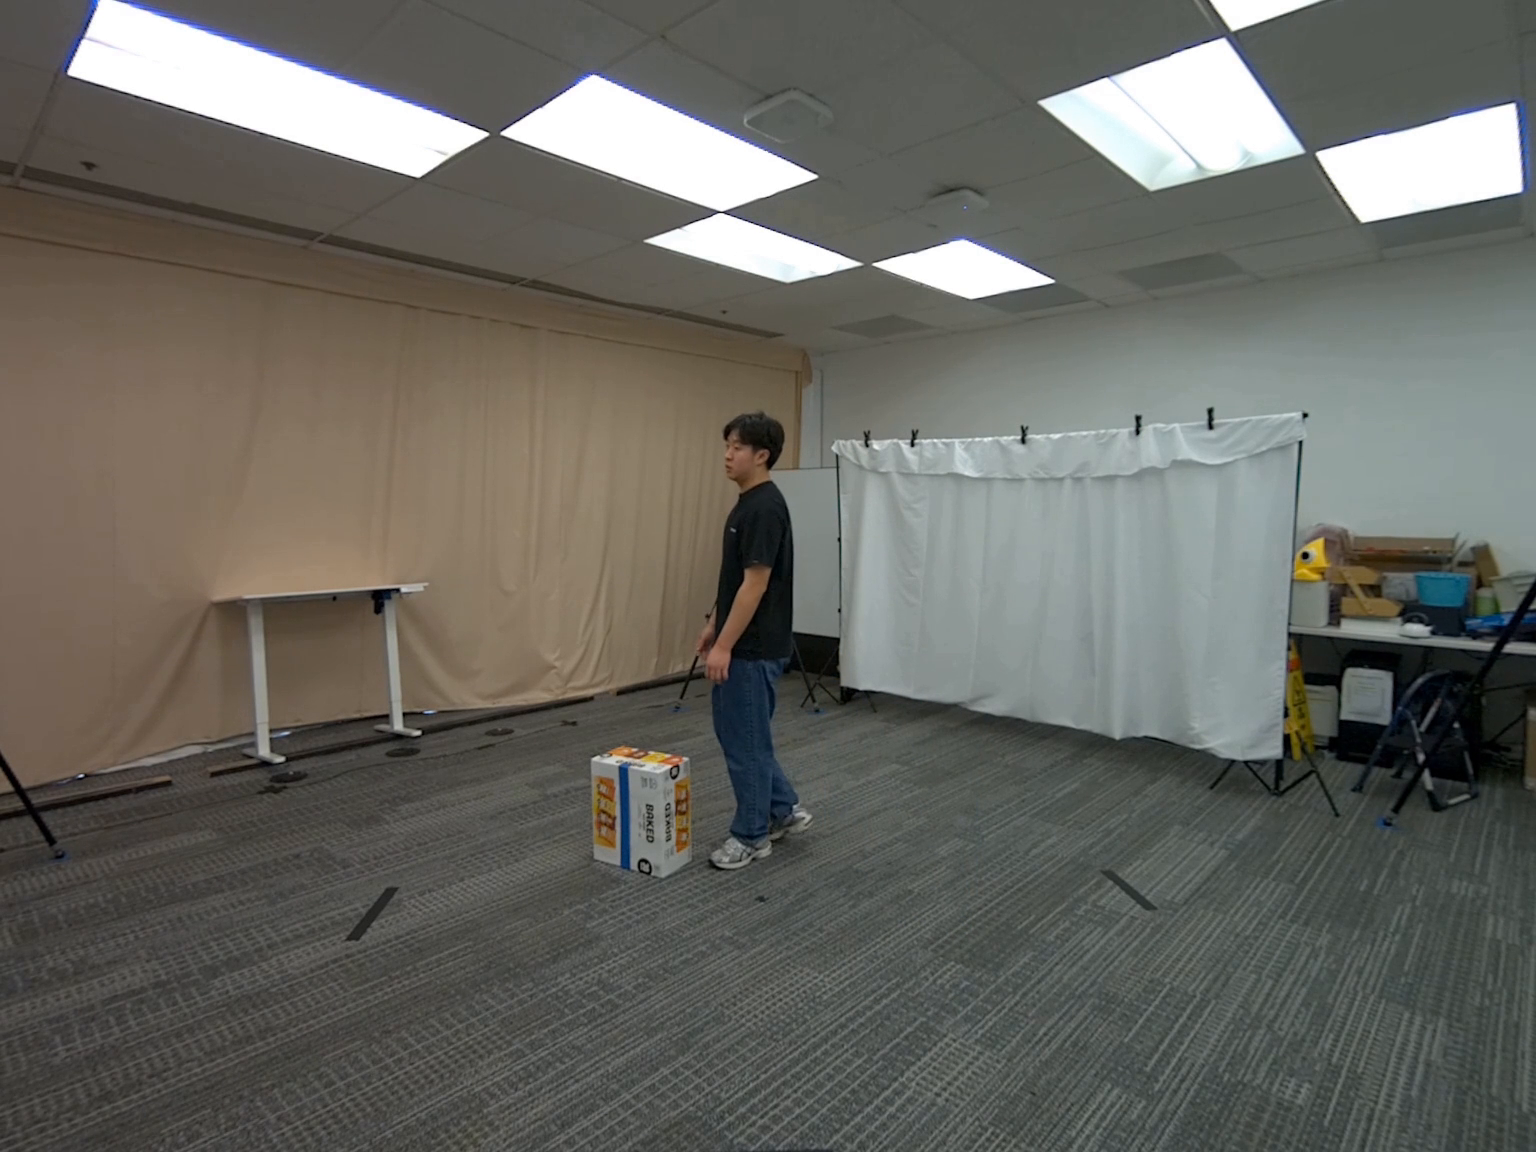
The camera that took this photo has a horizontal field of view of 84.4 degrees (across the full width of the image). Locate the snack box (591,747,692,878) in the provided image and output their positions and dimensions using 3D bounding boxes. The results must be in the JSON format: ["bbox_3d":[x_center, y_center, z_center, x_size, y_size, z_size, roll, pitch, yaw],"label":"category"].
[{"bbox_3d":[-0.496,0.920,3.314,0.350,0.404,0.200,1,4,31],"label":"snack box"}]
